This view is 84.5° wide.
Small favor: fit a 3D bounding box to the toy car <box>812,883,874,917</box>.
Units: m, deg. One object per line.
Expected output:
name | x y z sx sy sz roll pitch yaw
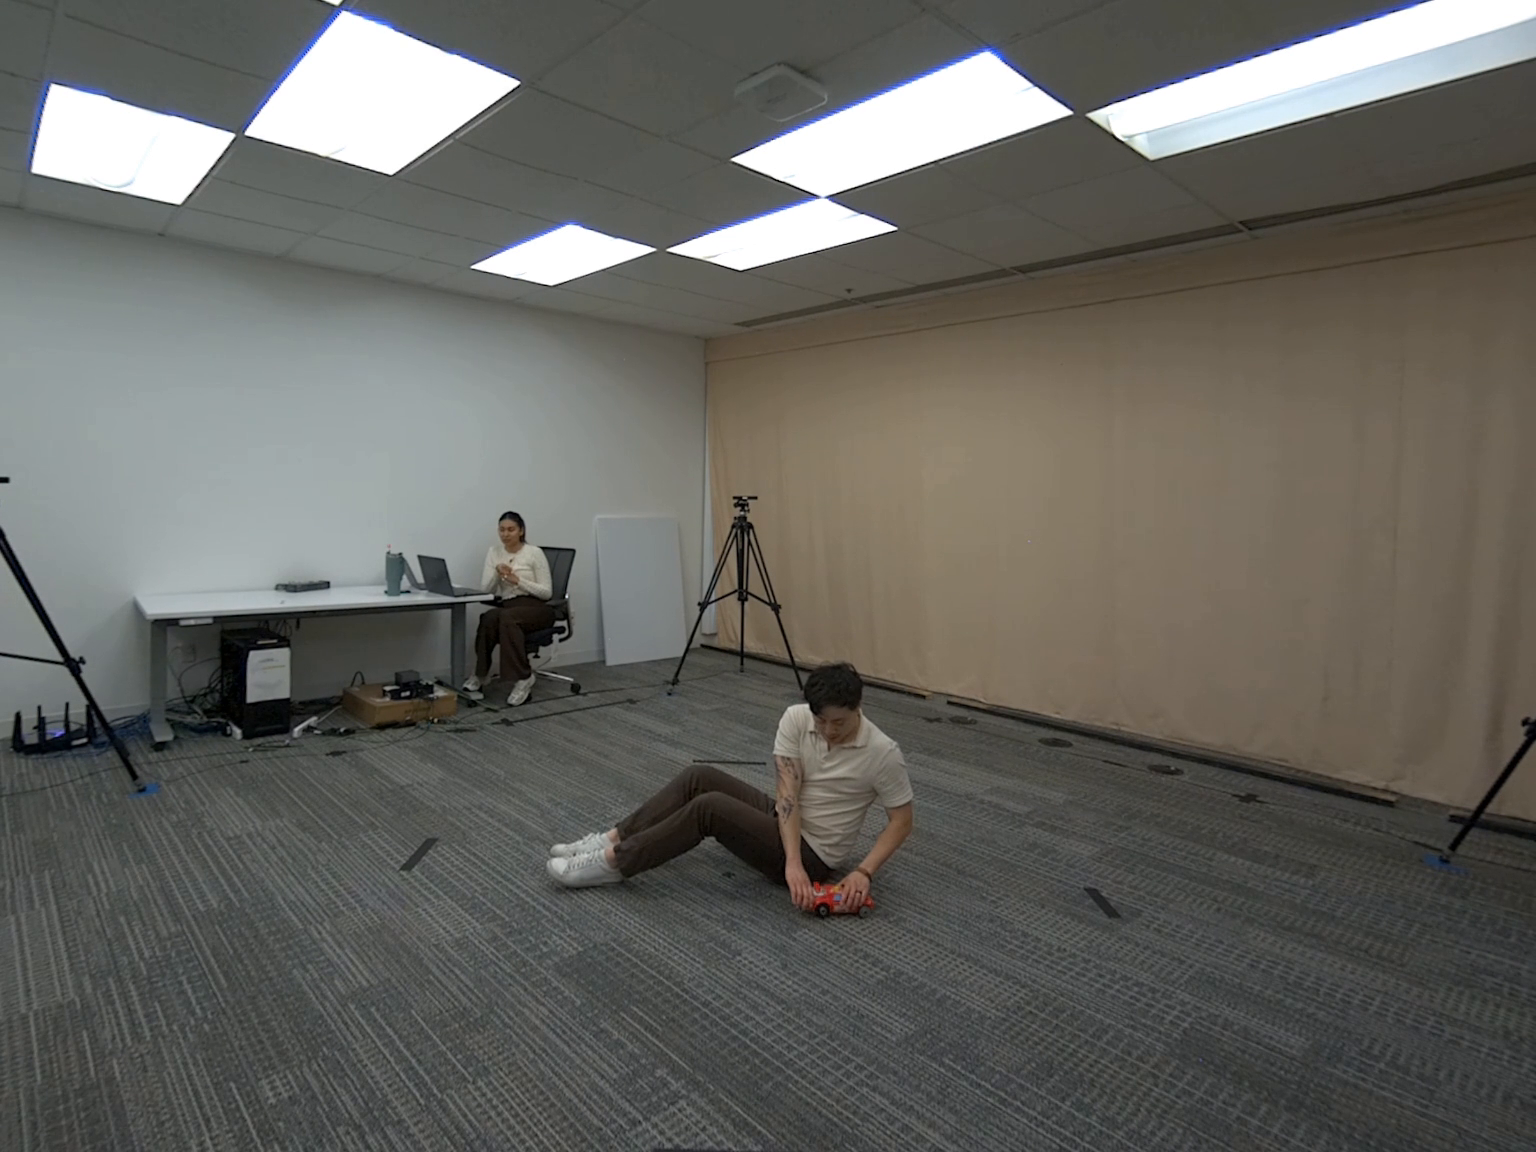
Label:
toy car | 0.204 1.097 2.836 0.252 0.083 0.132 15 3 -11
